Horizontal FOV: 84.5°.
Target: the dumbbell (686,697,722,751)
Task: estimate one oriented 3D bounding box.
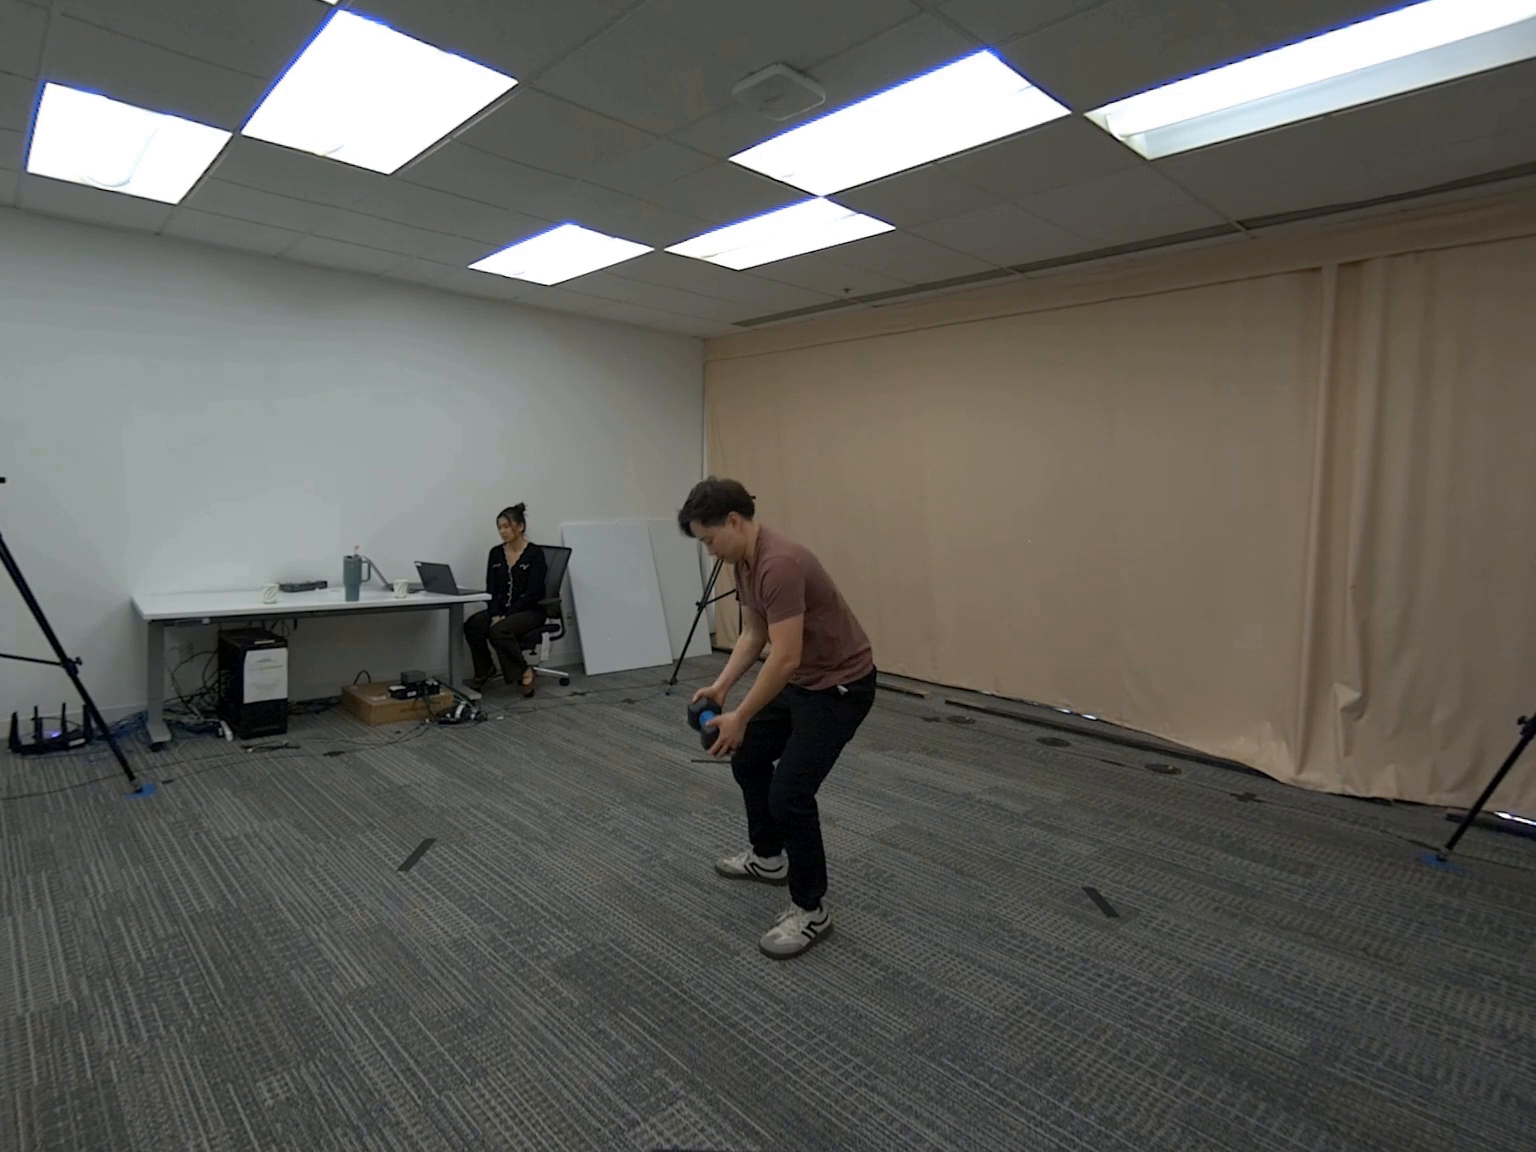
[{"bbox_3d":[-0.191,0.493,2.766,0.121,0.109,0.298,26,1,-16],"label":"dumbbell"}]
